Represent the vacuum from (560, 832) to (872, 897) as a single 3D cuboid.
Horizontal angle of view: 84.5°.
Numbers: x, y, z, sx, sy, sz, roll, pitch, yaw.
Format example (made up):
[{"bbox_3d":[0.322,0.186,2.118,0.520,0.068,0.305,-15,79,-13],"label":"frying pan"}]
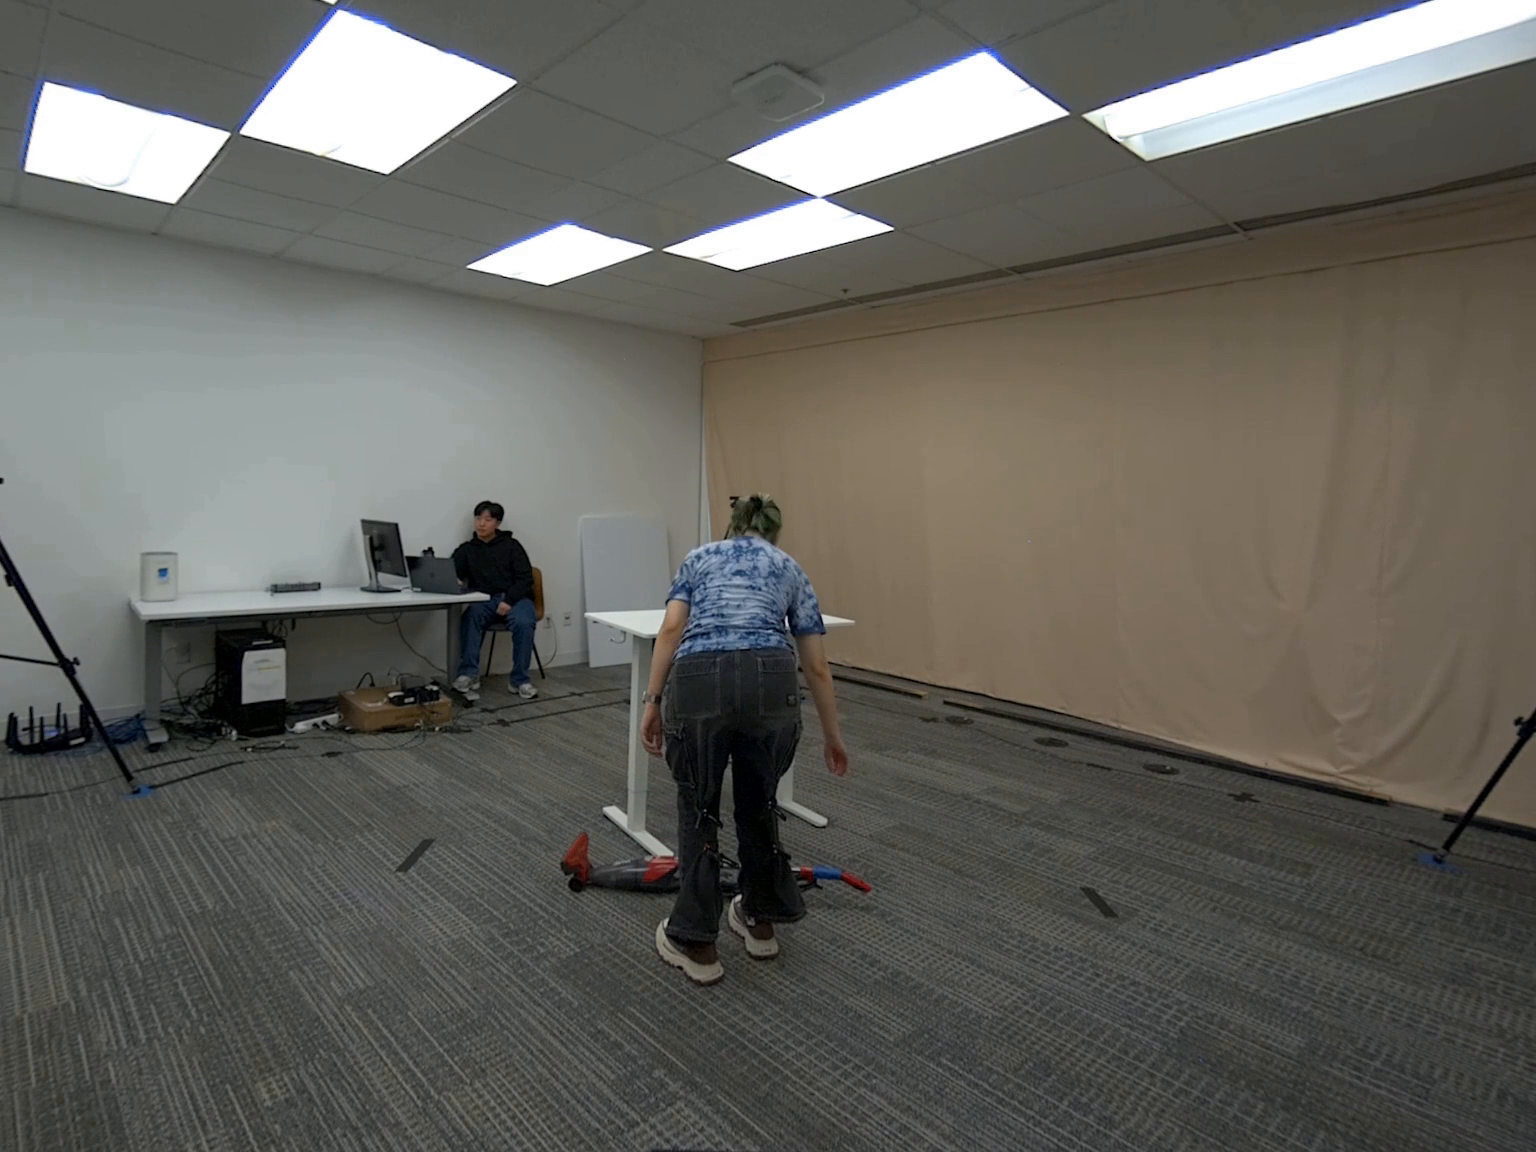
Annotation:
[{"bbox_3d":[-0.178,1.055,2.946,1.054,0.143,0.252,3,6,6],"label":"vacuum"}]
